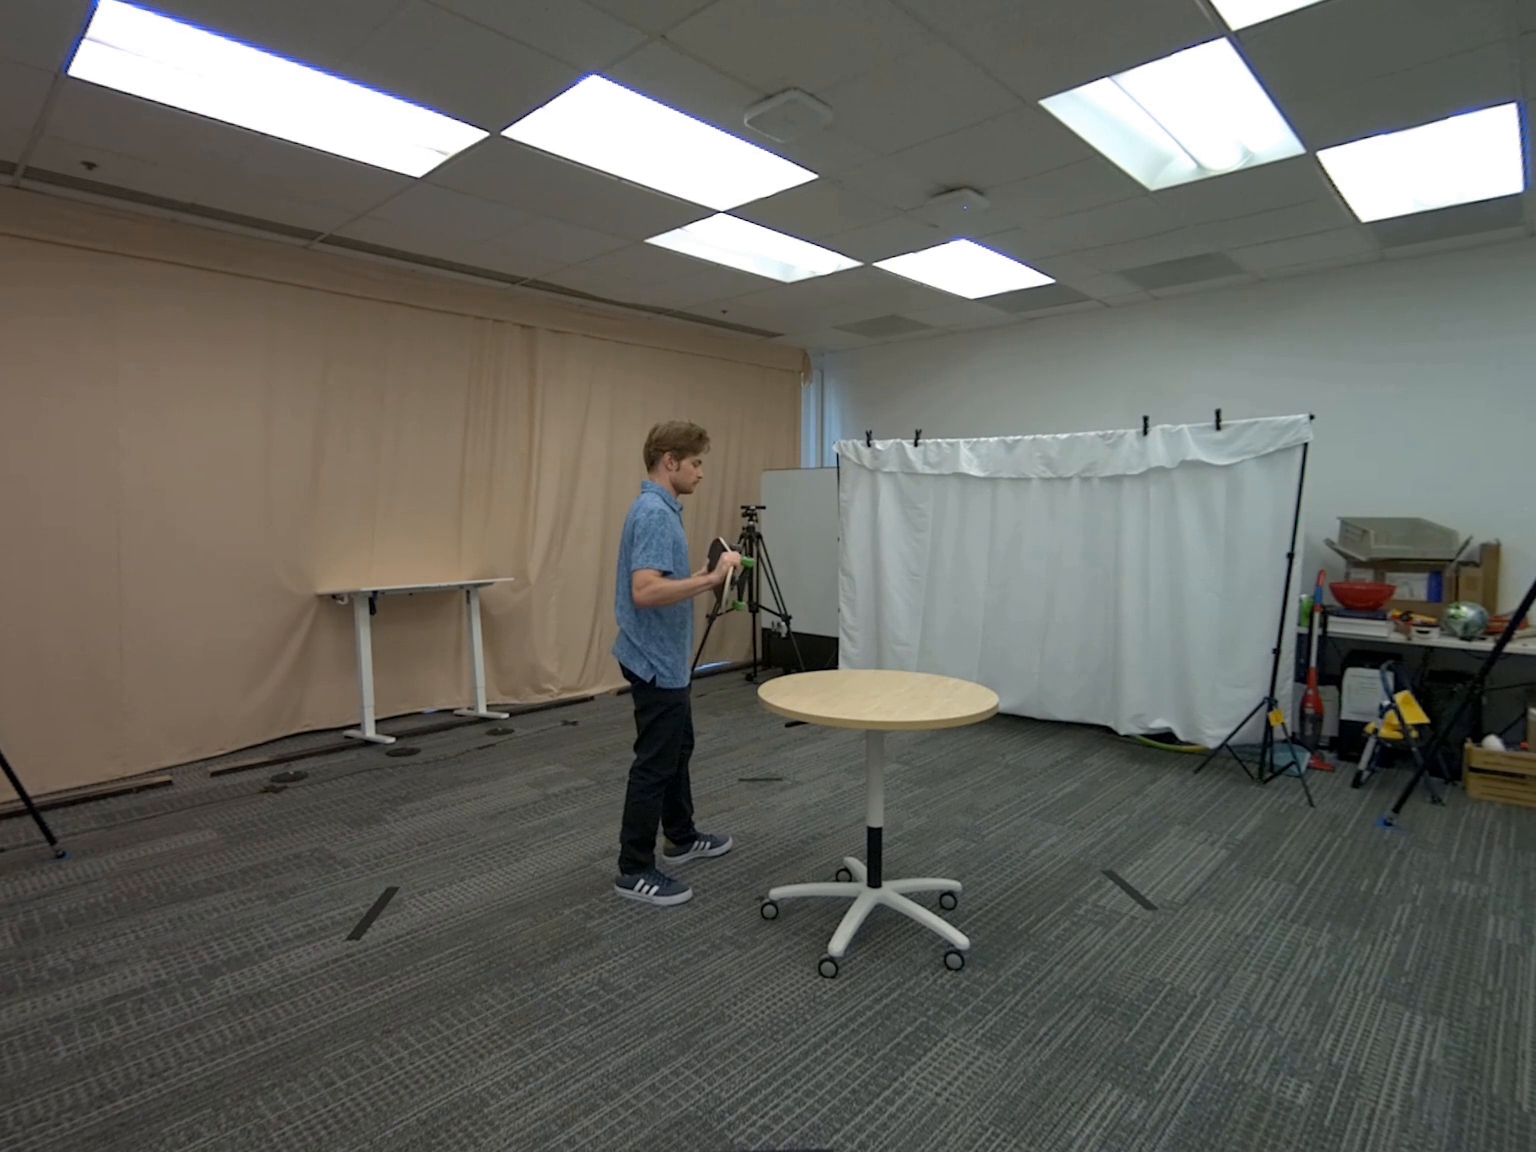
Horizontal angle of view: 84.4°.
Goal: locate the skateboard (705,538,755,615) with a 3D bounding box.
[{"bbox_3d":[-0.144,-0.011,3.083,0.109,0.193,0.794,10,8,-9],"label":"skateboard"}]
